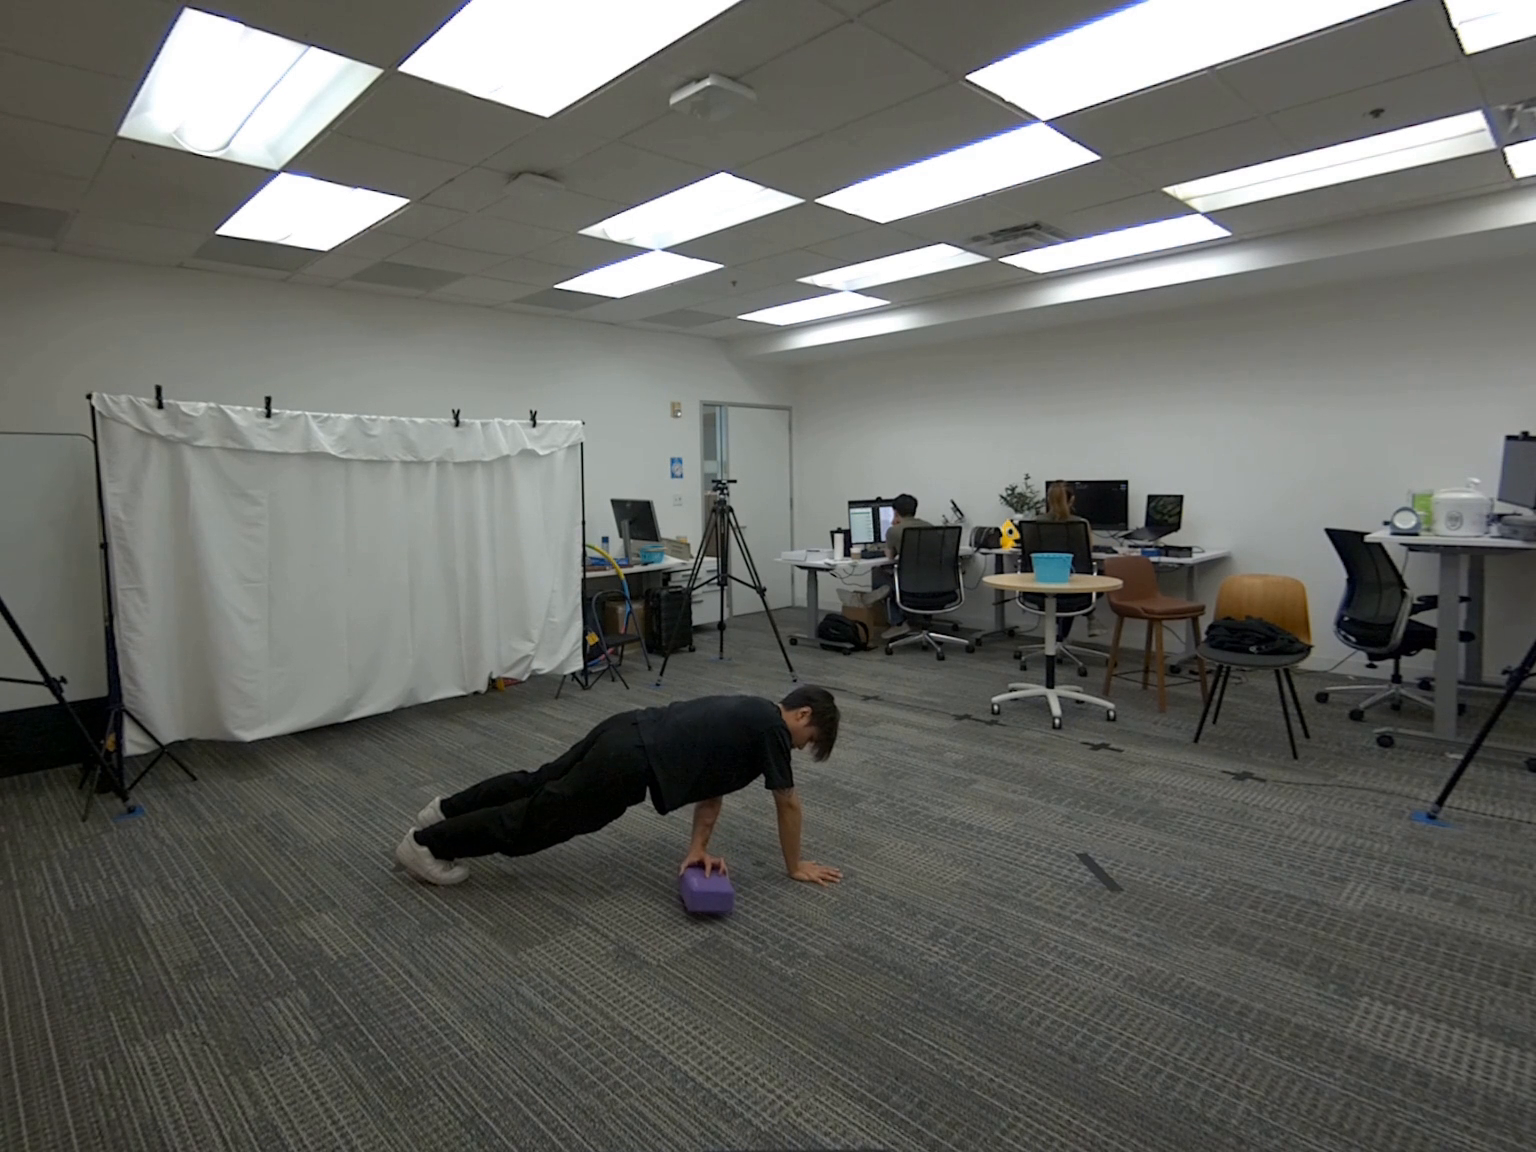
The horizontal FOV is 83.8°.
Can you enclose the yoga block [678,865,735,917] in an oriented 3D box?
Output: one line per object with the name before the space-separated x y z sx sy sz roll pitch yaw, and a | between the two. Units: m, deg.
yoga block | -0.209 1.023 2.803 0.147 0.076 0.232 6 1 -12
